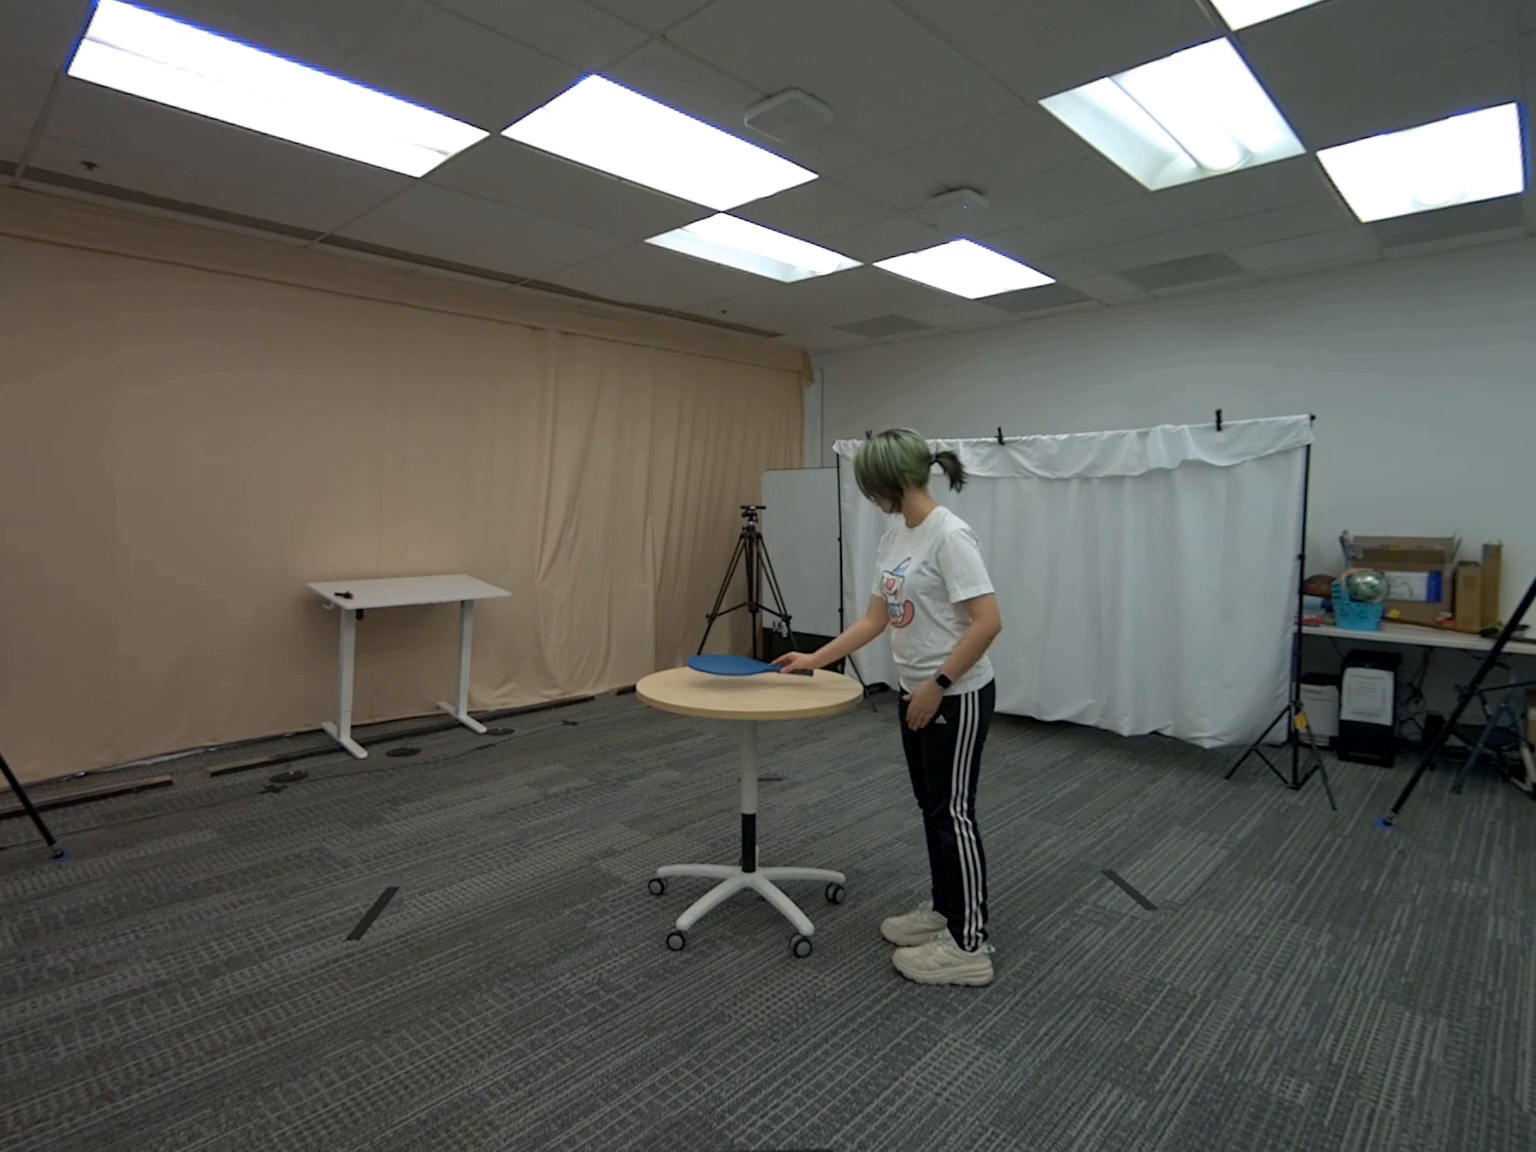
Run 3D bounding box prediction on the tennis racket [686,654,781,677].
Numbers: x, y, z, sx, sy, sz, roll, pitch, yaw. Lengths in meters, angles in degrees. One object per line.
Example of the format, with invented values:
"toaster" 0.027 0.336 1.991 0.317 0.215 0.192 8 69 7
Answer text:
"tennis racket" -0.057 0.301 2.852 0.434 0.031 0.214 6 9 1
